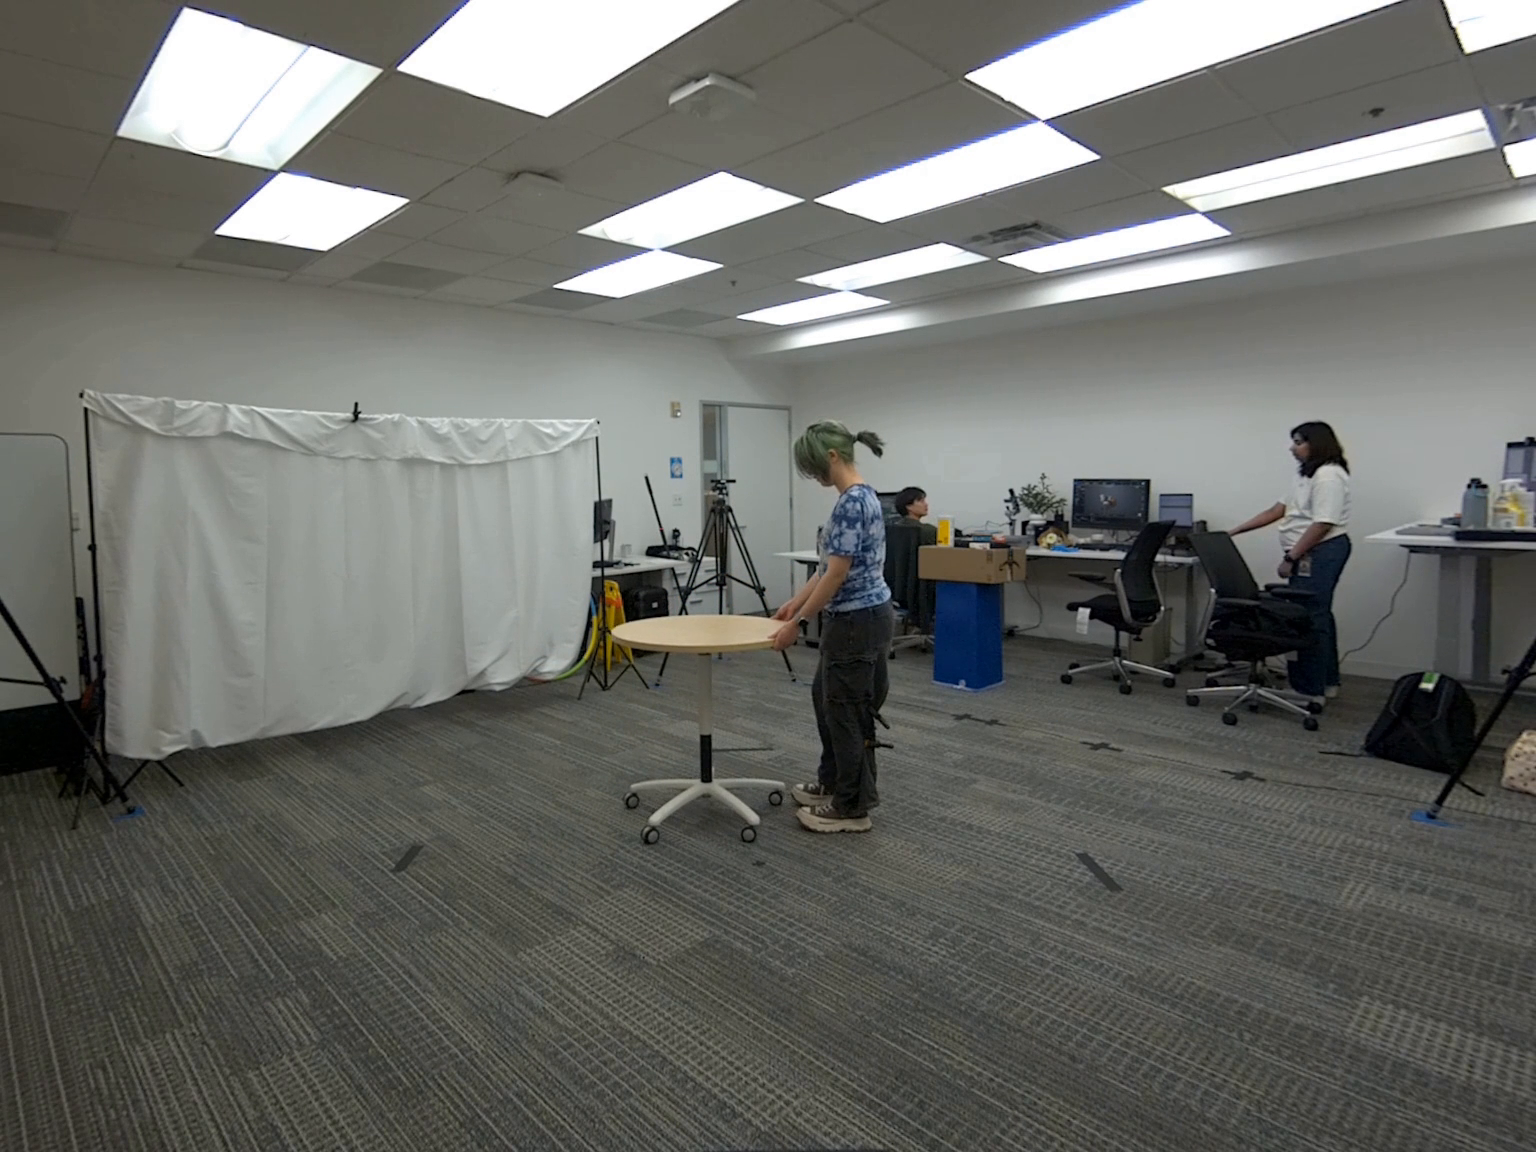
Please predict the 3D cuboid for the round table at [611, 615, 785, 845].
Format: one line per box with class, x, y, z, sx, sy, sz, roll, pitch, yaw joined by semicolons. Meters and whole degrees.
round table;-0.265;0.612;3.553;0.763;0.791;0.767;-1;4;-2
